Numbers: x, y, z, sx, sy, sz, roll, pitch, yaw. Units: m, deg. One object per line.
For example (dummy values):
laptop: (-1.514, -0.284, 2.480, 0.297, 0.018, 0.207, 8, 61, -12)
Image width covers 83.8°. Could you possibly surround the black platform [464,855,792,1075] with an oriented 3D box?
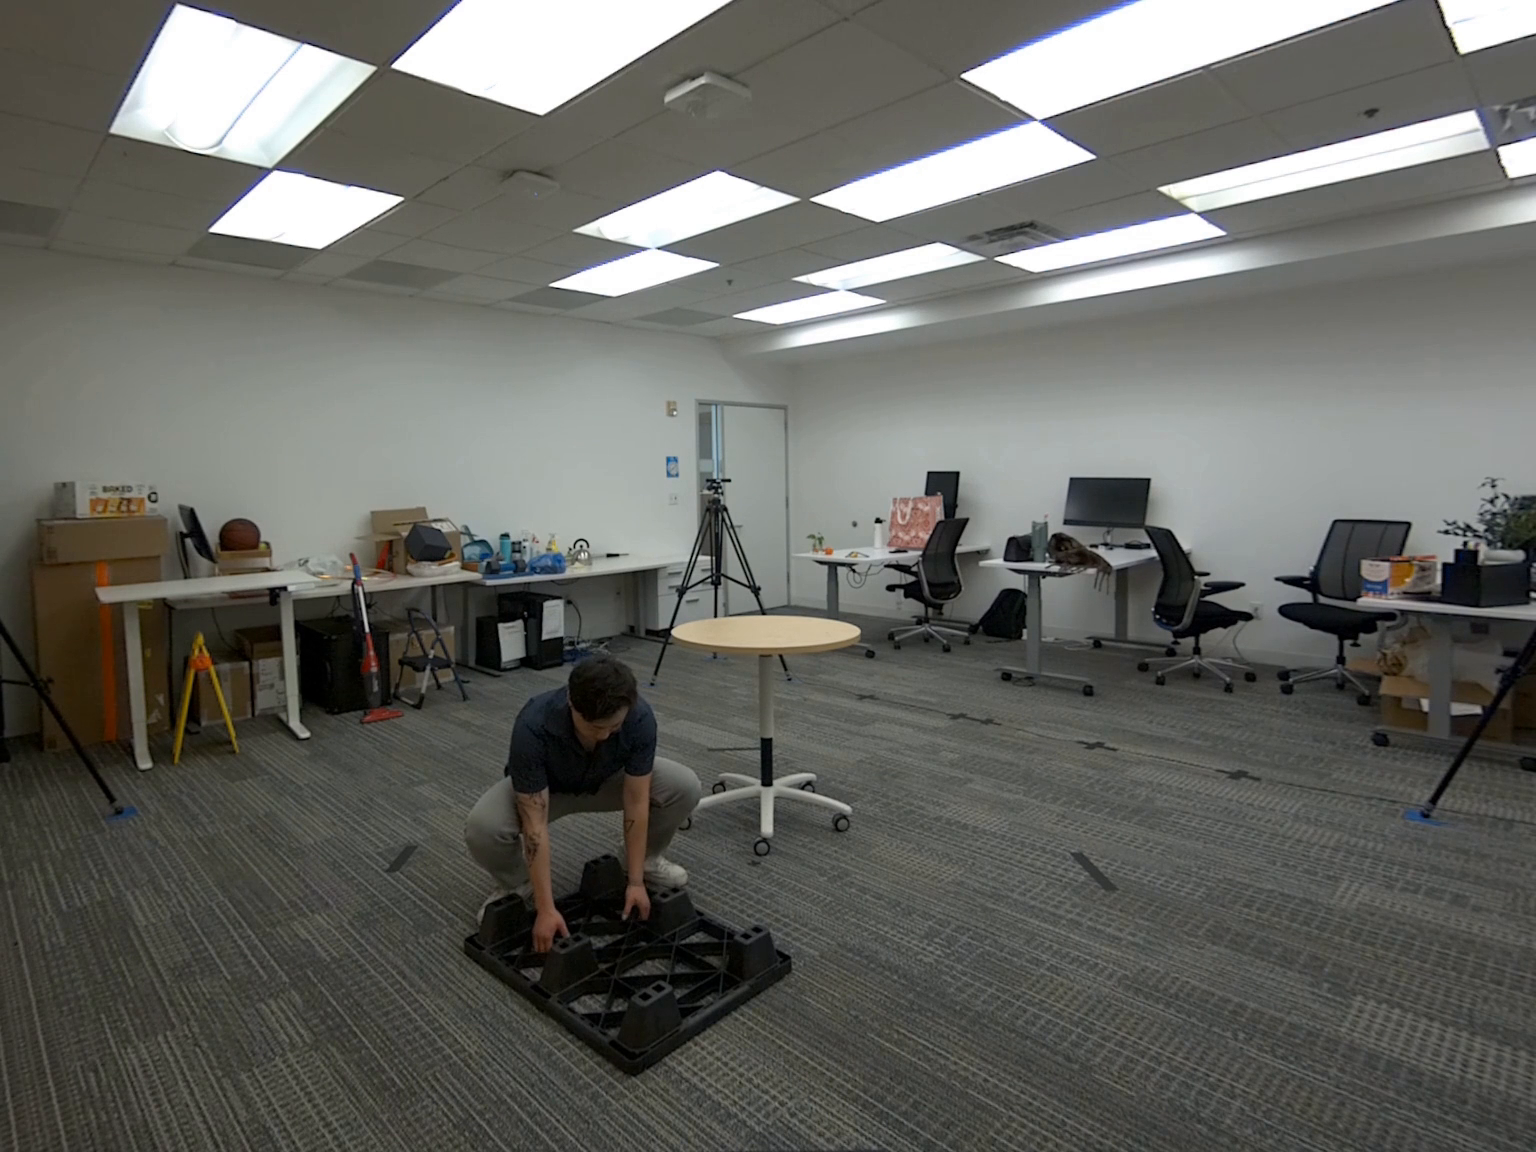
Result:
black platform: (-0.422, 1.057, 2.484, 0.830, 0.143, 0.589, 4, 7, 42)
